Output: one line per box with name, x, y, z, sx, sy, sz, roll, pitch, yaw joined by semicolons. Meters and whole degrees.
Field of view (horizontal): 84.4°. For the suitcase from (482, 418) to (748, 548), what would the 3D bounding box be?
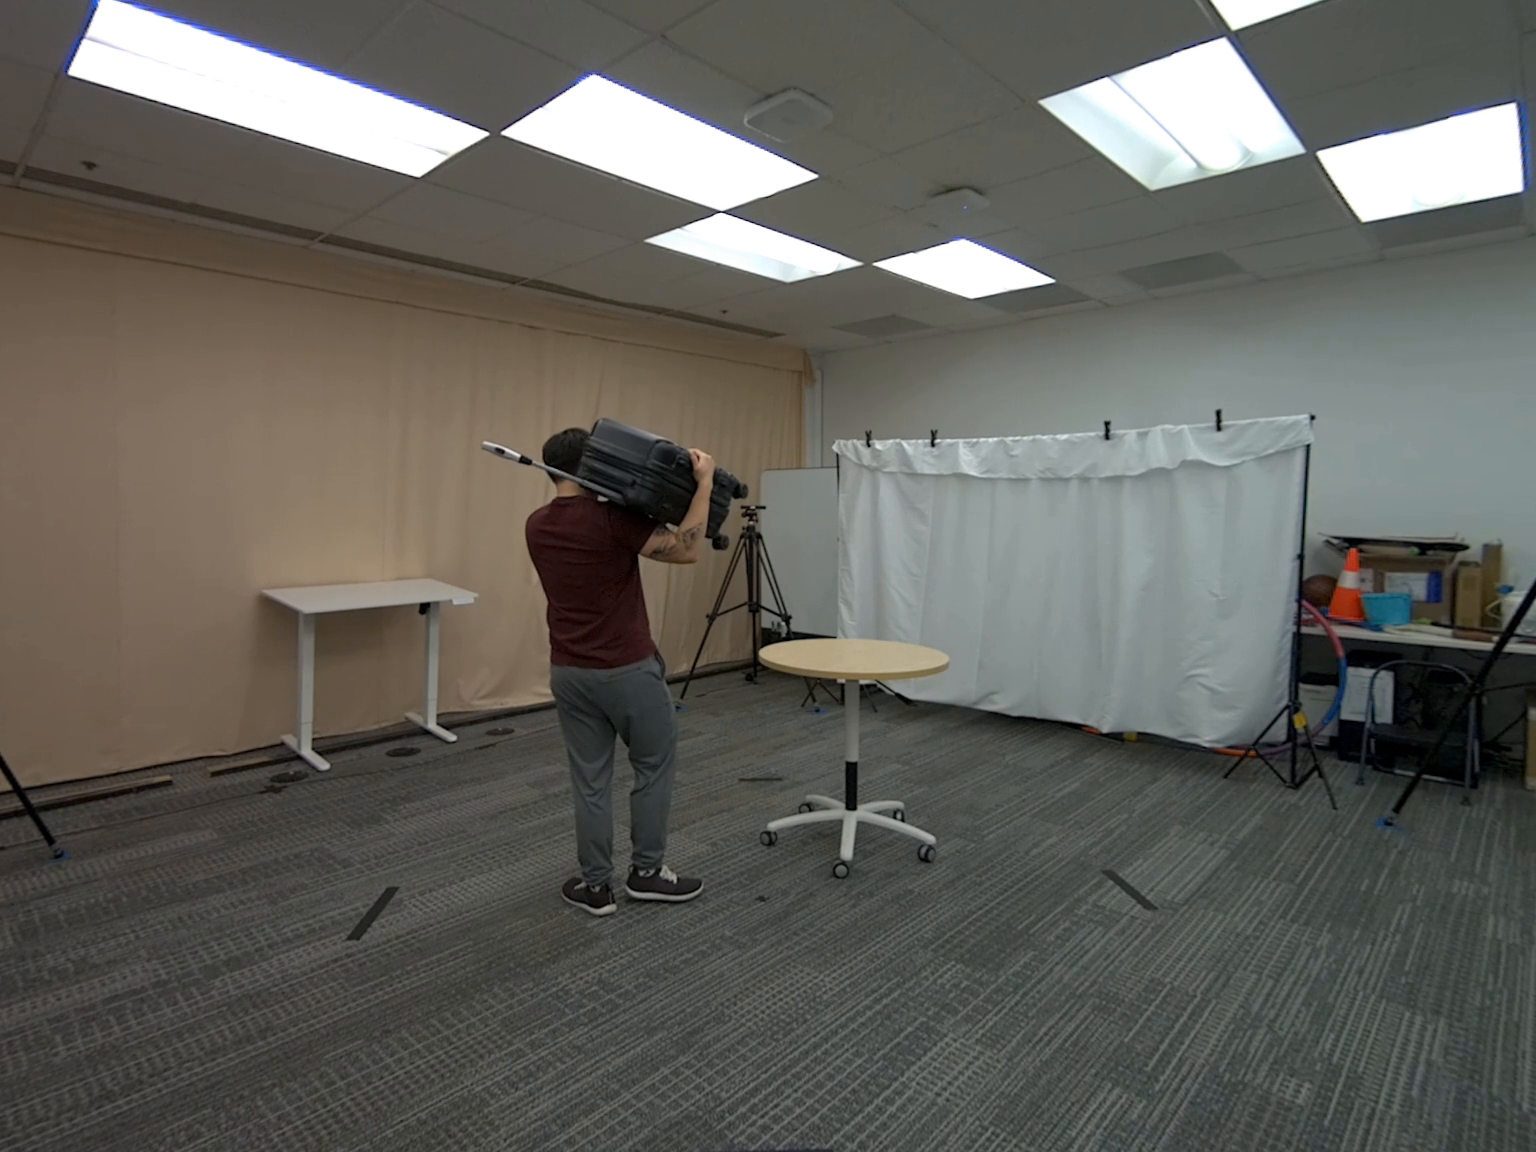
suitcase;-0.451;-0.363;2.695;0.397;0.257;0.946;25;0;31
